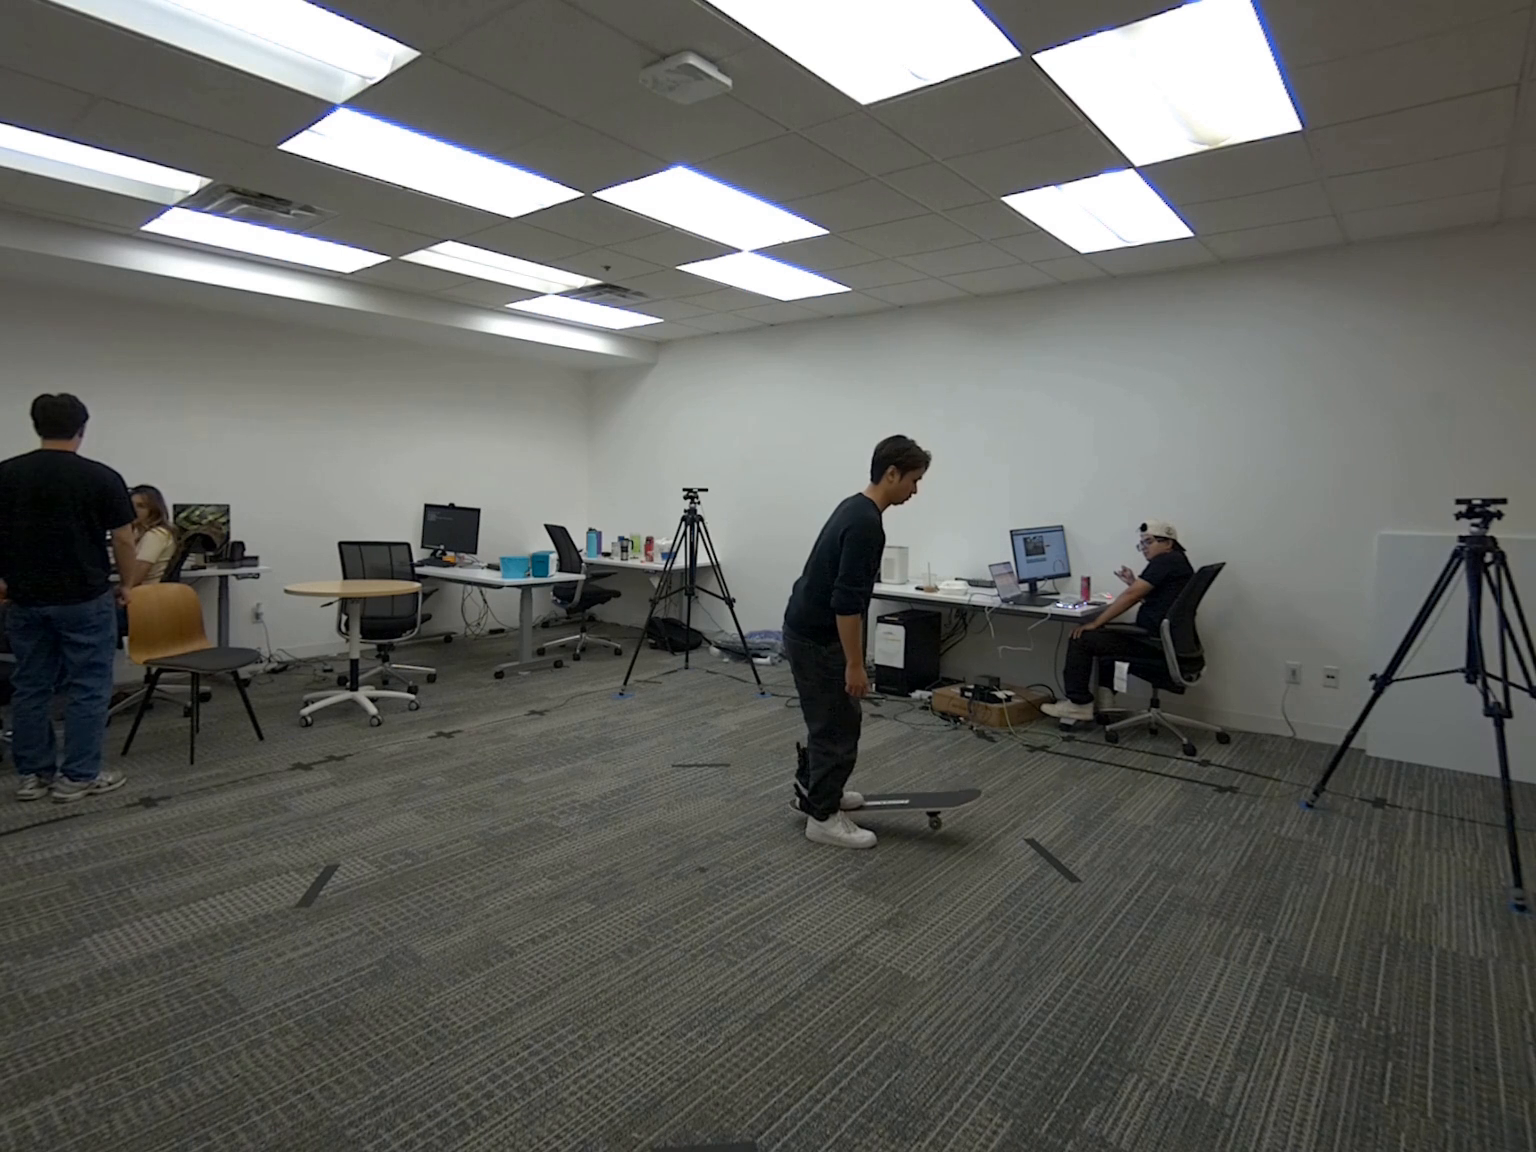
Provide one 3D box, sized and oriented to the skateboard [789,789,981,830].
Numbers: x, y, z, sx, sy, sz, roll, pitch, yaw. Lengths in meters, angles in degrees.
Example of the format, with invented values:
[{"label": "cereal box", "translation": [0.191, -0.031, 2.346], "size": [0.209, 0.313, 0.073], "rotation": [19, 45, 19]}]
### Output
[{"label": "skateboard", "translation": [0.471, 0.971, 3.506], "size": [0.796, 0.110, 0.191], "rotation": [-5, 4, 13]}]
